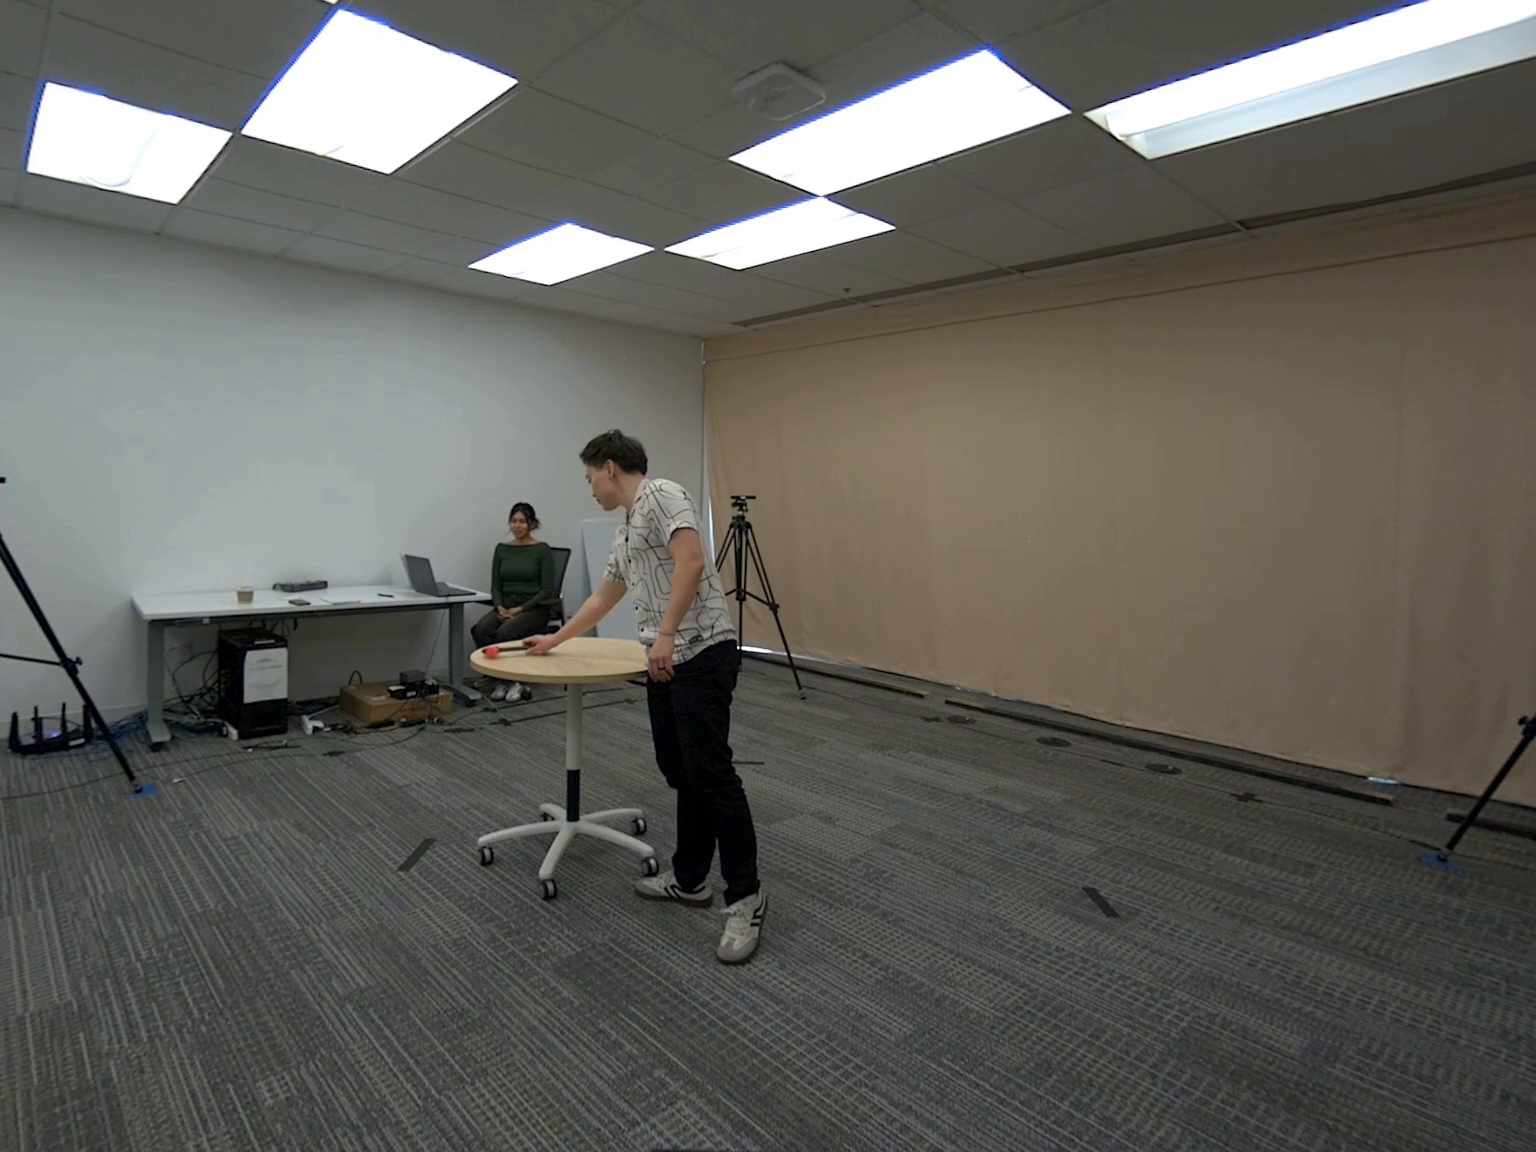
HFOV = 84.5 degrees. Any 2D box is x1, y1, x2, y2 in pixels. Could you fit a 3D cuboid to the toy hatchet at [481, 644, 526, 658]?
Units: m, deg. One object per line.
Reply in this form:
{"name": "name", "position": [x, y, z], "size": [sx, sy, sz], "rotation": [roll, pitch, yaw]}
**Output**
{"name": "toy hatchet", "position": [-0.958, 0.273, 3.159], "size": [0.133, 0.030, 0.263], "rotation": [-7, -5, 38]}
